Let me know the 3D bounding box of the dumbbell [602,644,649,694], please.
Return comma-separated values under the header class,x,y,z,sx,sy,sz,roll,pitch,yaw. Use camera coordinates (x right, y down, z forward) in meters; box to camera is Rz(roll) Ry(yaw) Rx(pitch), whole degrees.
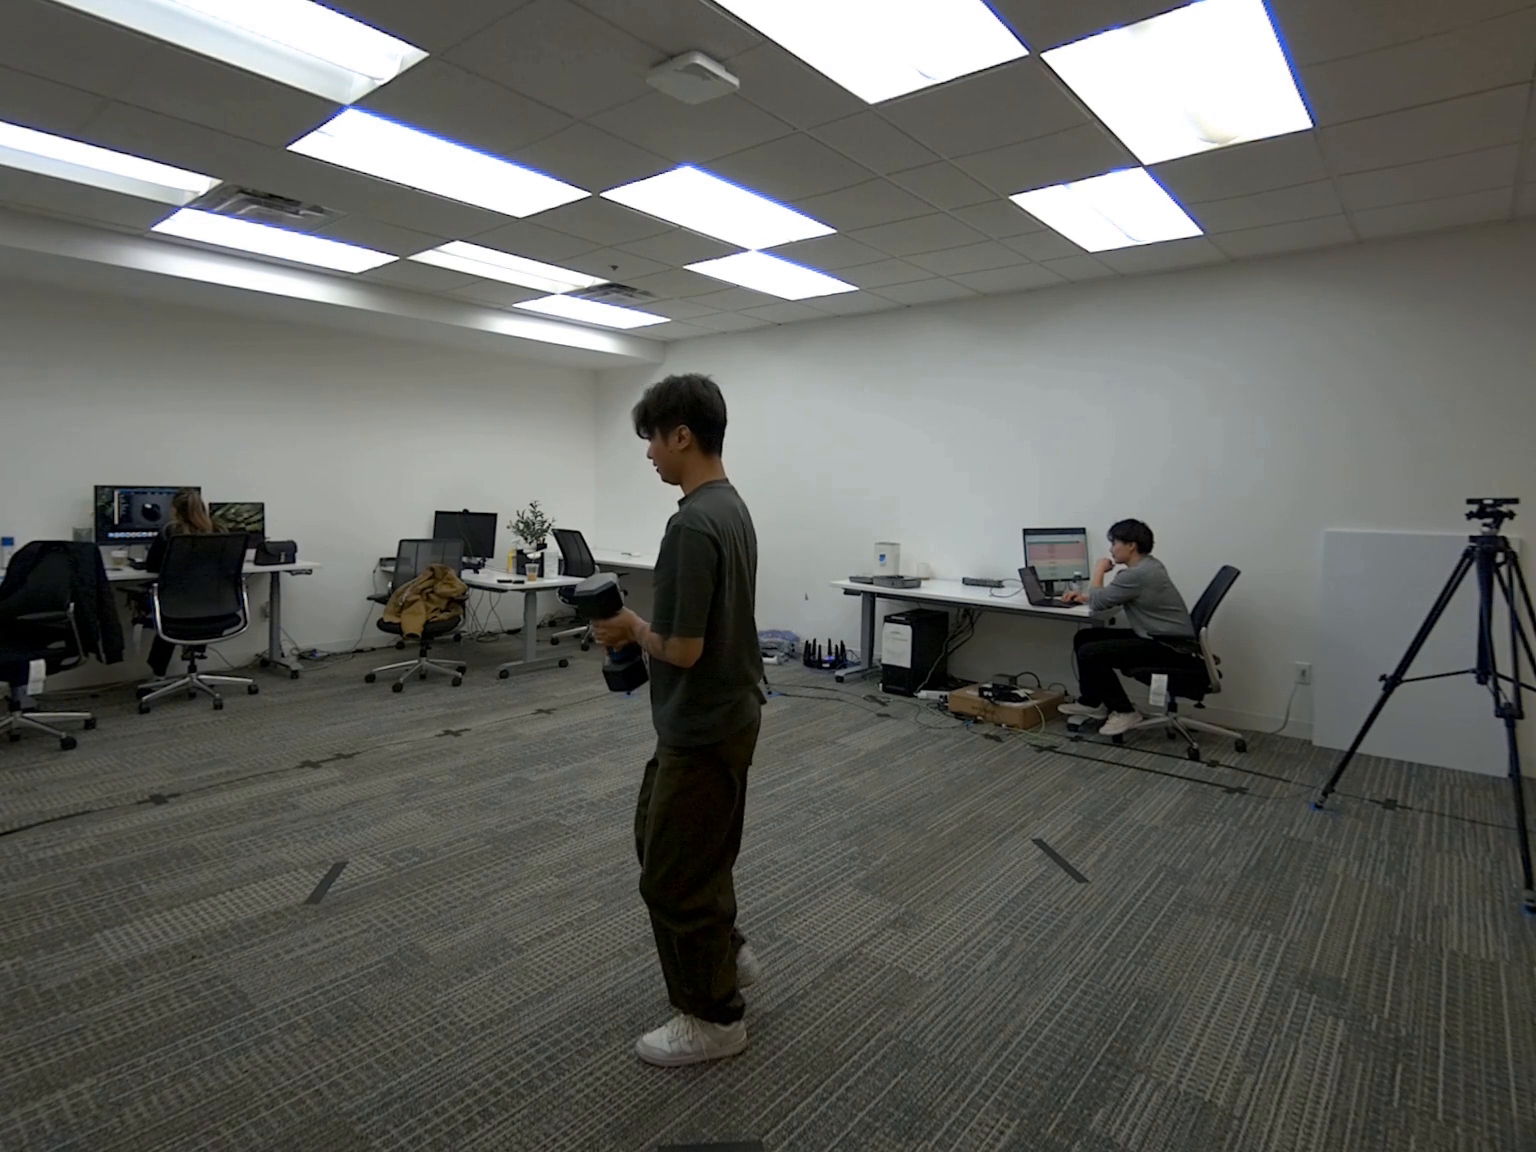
class,x,y,z,sx,sy,sz,roll,pitch,yaw
dumbbell,-0.394,0.141,2.133,0.121,0.287,0.112,-30,24,-32
